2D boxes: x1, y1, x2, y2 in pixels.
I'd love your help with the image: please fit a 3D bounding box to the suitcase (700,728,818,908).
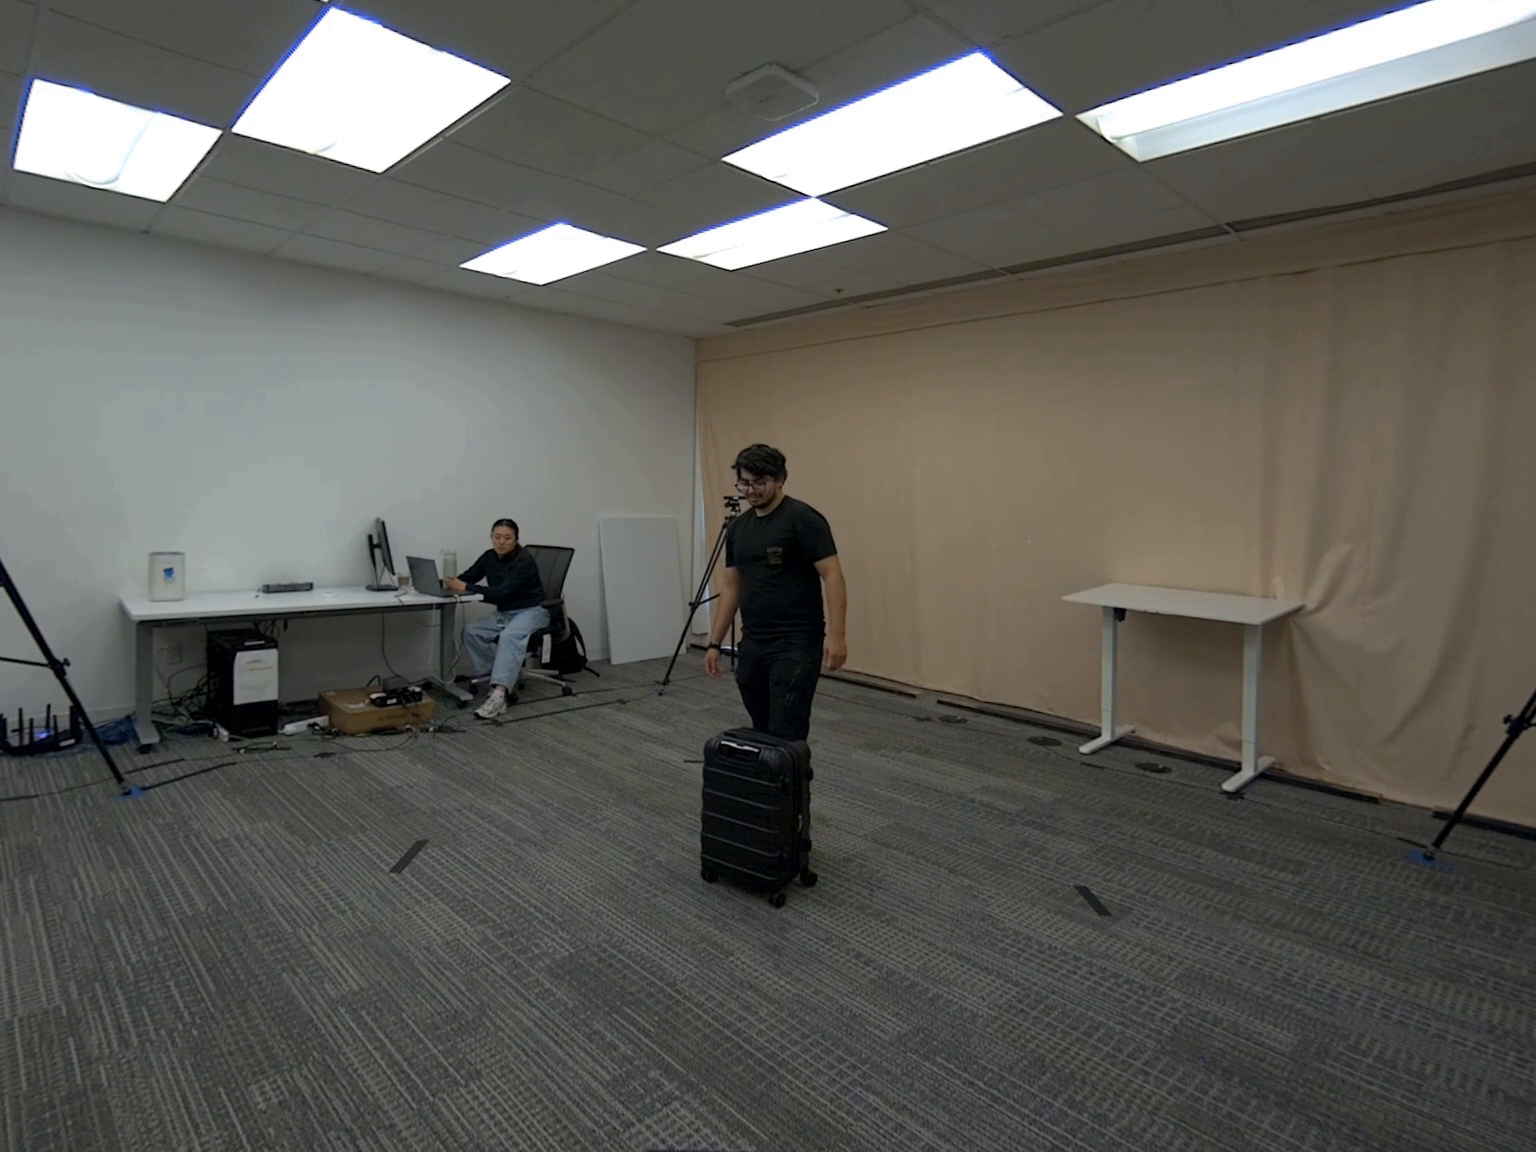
[{"bbox_3d":[-0.051,0.836,3.028,0.384,0.548,0.243,3,5,35],"label":"suitcase"}]
